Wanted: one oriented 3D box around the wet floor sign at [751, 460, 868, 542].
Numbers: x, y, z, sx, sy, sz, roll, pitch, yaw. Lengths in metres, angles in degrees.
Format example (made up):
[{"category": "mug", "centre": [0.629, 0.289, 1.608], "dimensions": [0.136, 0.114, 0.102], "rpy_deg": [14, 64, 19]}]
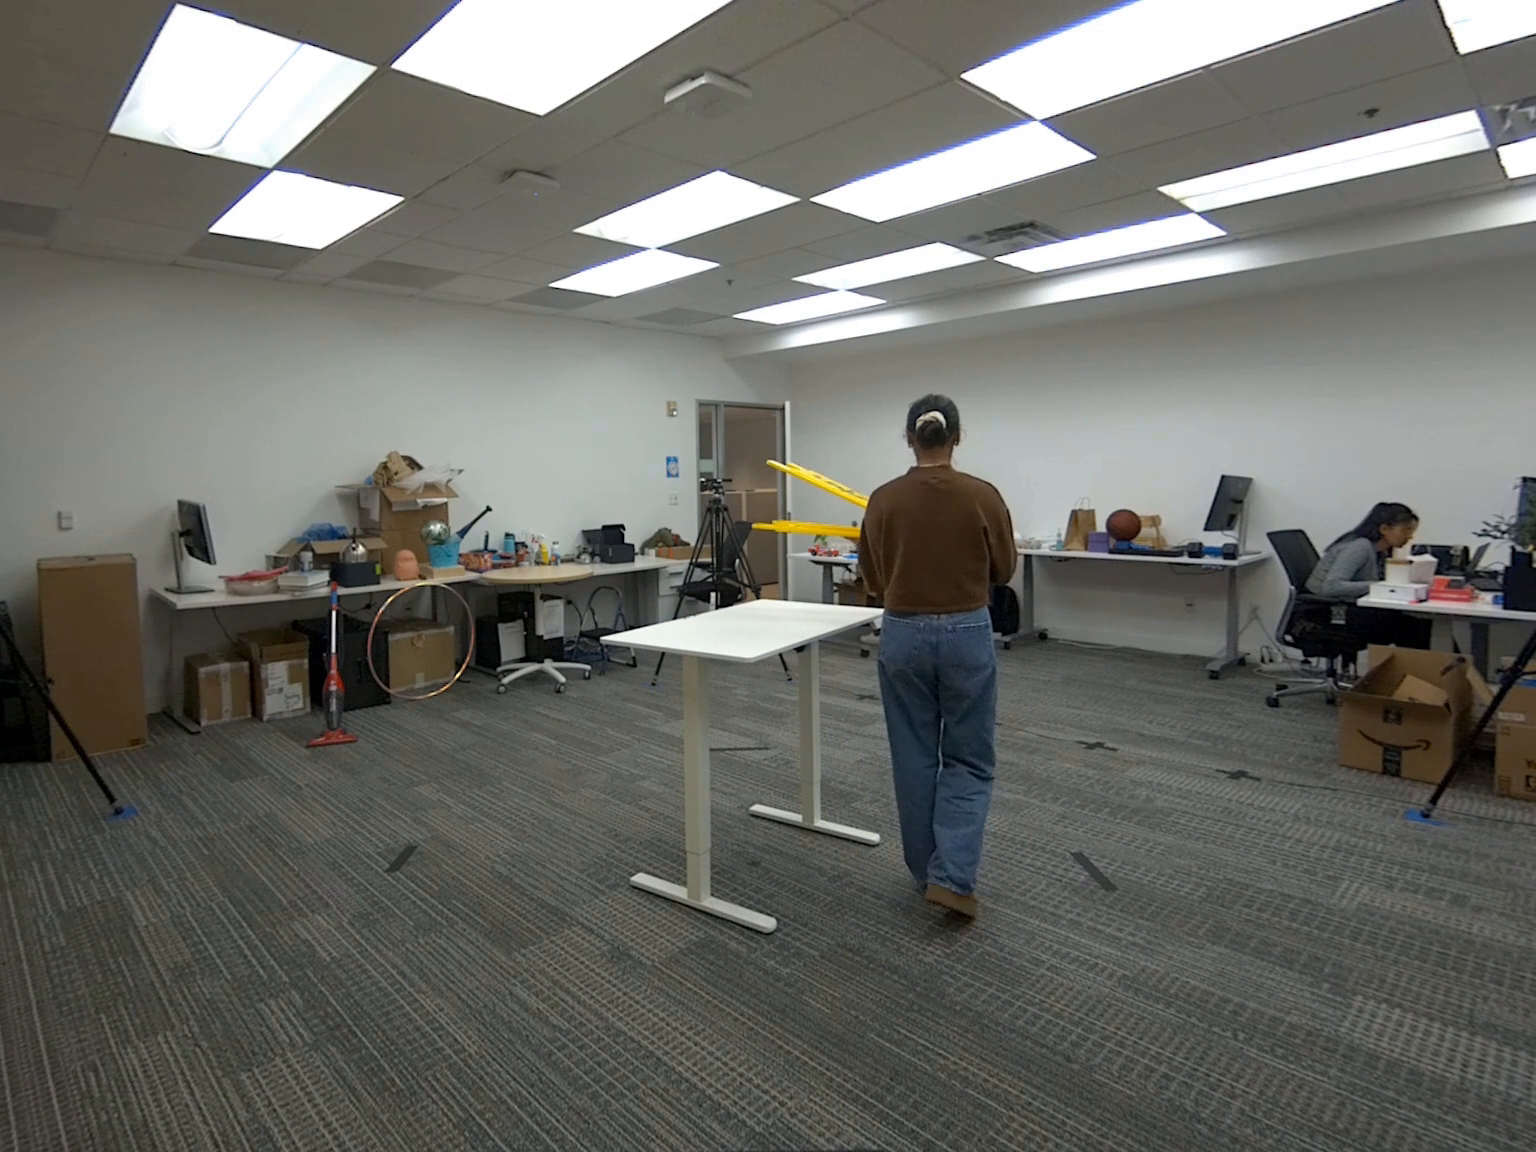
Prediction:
[{"category": "wet floor sign", "centre": [0.308, -0.224, 3.160], "dimensions": [0.663, 0.288, 0.276], "rpy_deg": [15, 9, 24]}]
